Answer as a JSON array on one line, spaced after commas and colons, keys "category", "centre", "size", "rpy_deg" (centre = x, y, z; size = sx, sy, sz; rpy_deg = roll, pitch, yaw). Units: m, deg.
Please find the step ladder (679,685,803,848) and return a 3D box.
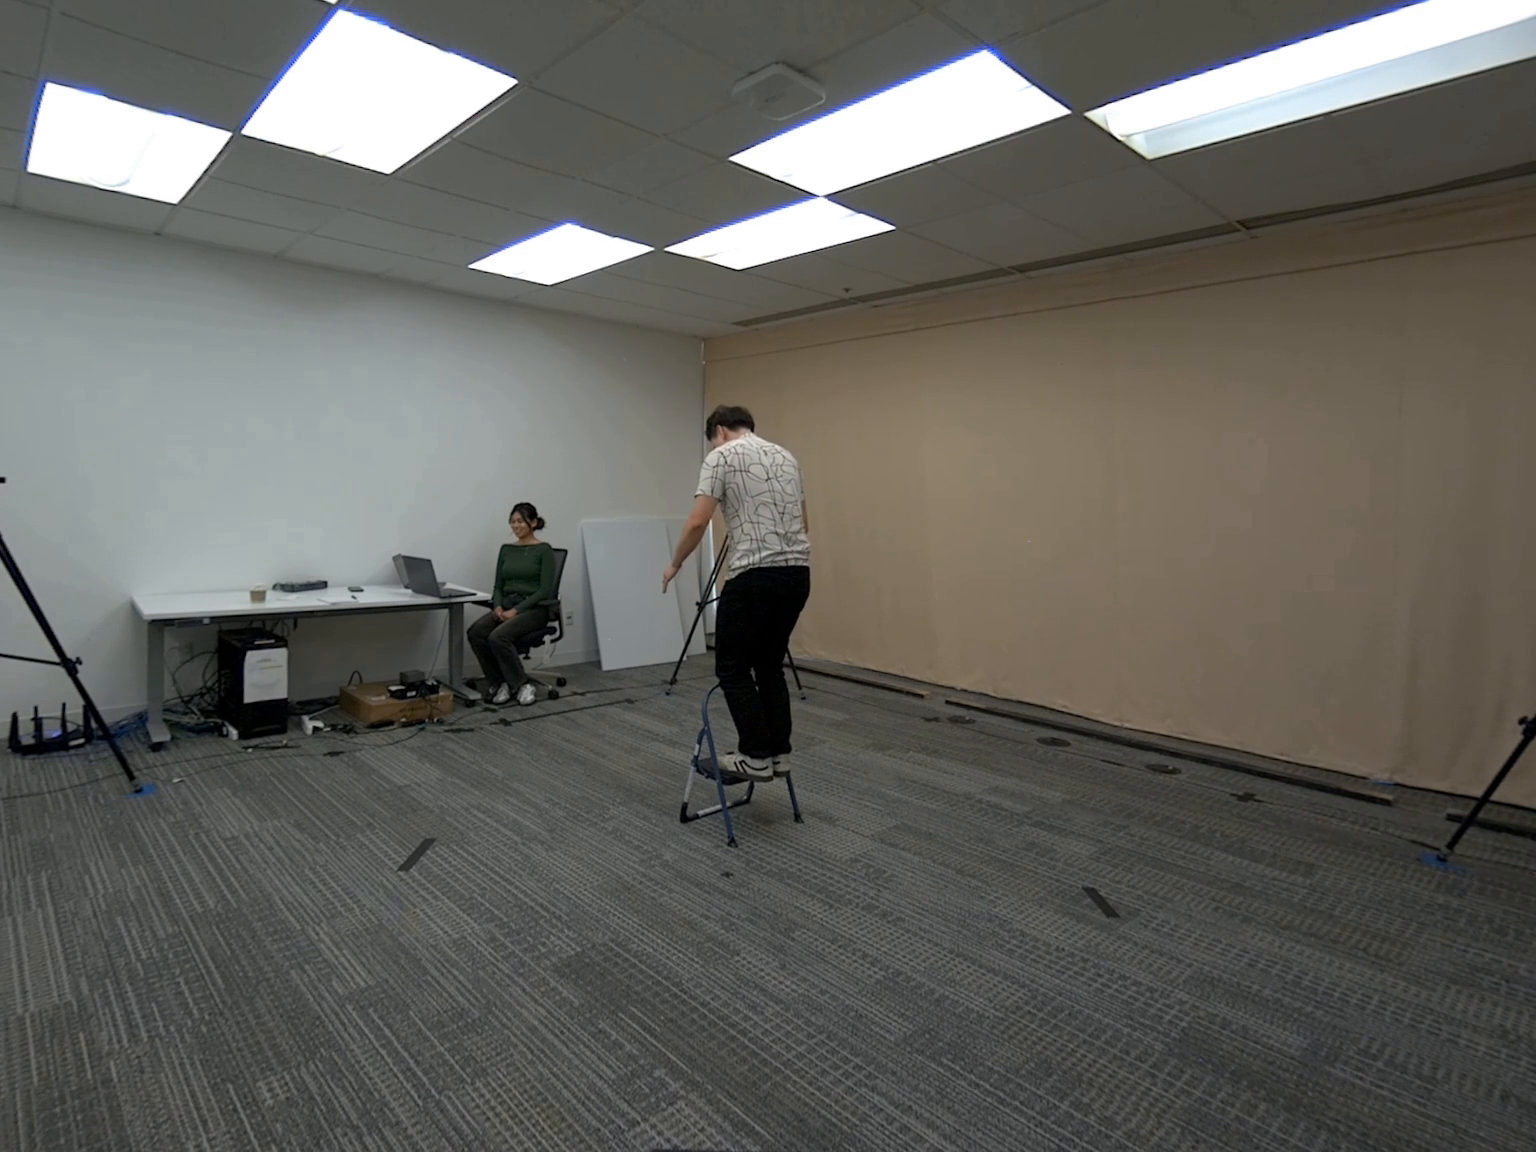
[{"category": "step ladder", "centre": [-0.117, 0.754, 3.604], "size": [0.358, 0.605, 0.421], "rpy_deg": [4, 4, 44]}]
